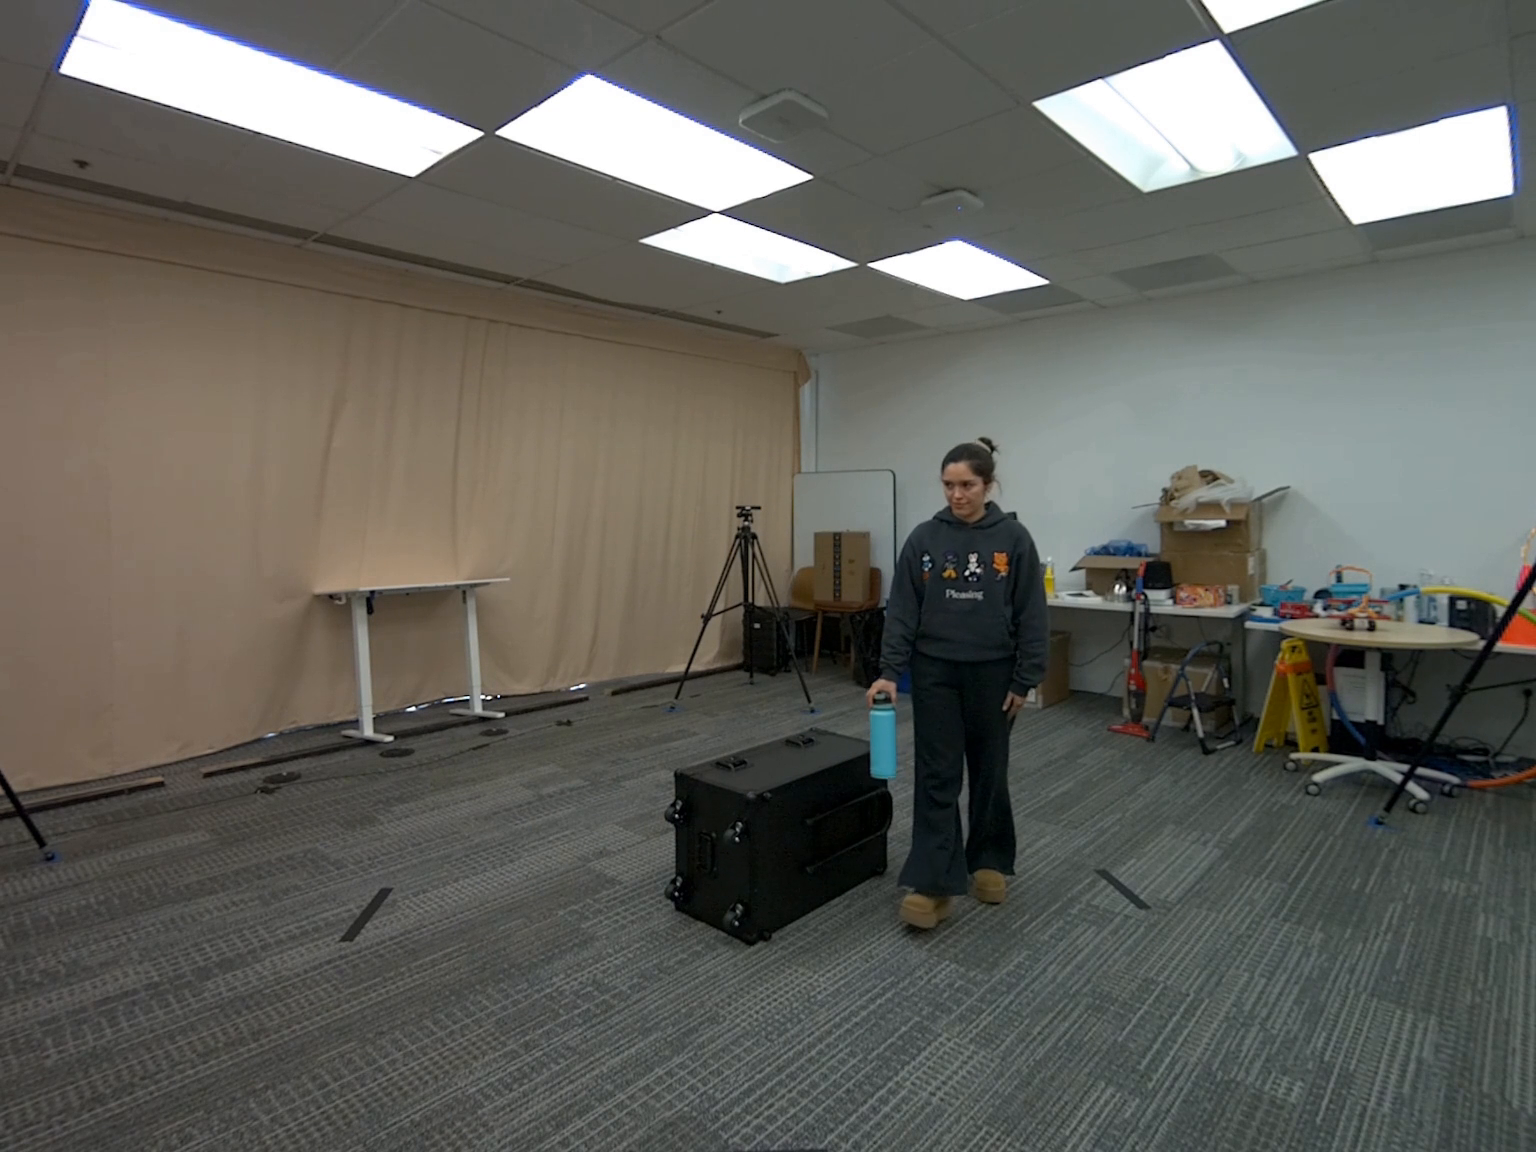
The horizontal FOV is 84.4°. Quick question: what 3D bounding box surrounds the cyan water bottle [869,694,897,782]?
[{"bbox_3d":[0.427,0.554,2.914,0.092,0.284,0.092,-2,-2,-2],"label":"cyan water bottle"}]
